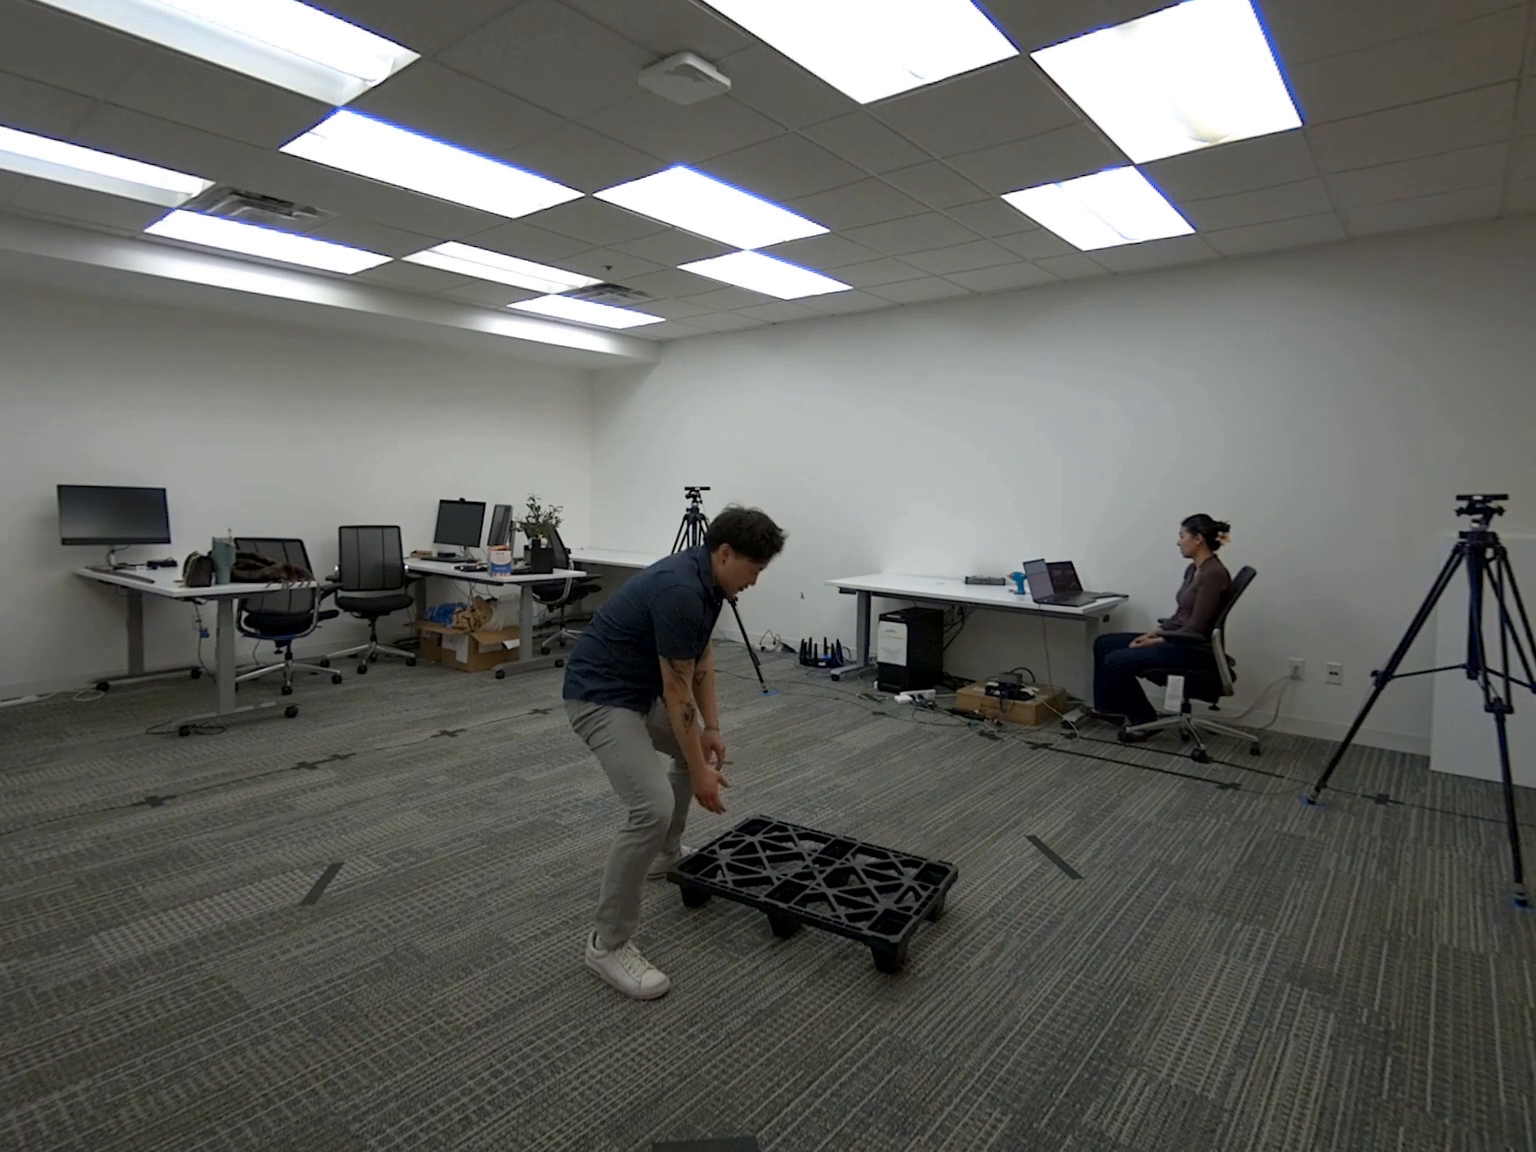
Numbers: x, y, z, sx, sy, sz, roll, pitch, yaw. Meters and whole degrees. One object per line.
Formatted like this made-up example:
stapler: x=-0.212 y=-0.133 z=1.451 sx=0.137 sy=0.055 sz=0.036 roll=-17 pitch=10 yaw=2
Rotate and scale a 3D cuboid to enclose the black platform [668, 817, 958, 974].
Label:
black platform: x=0.148 y=1.034 z=2.826 sx=0.830 sy=0.143 sz=0.590 roll=4 pitch=7 yaw=30
